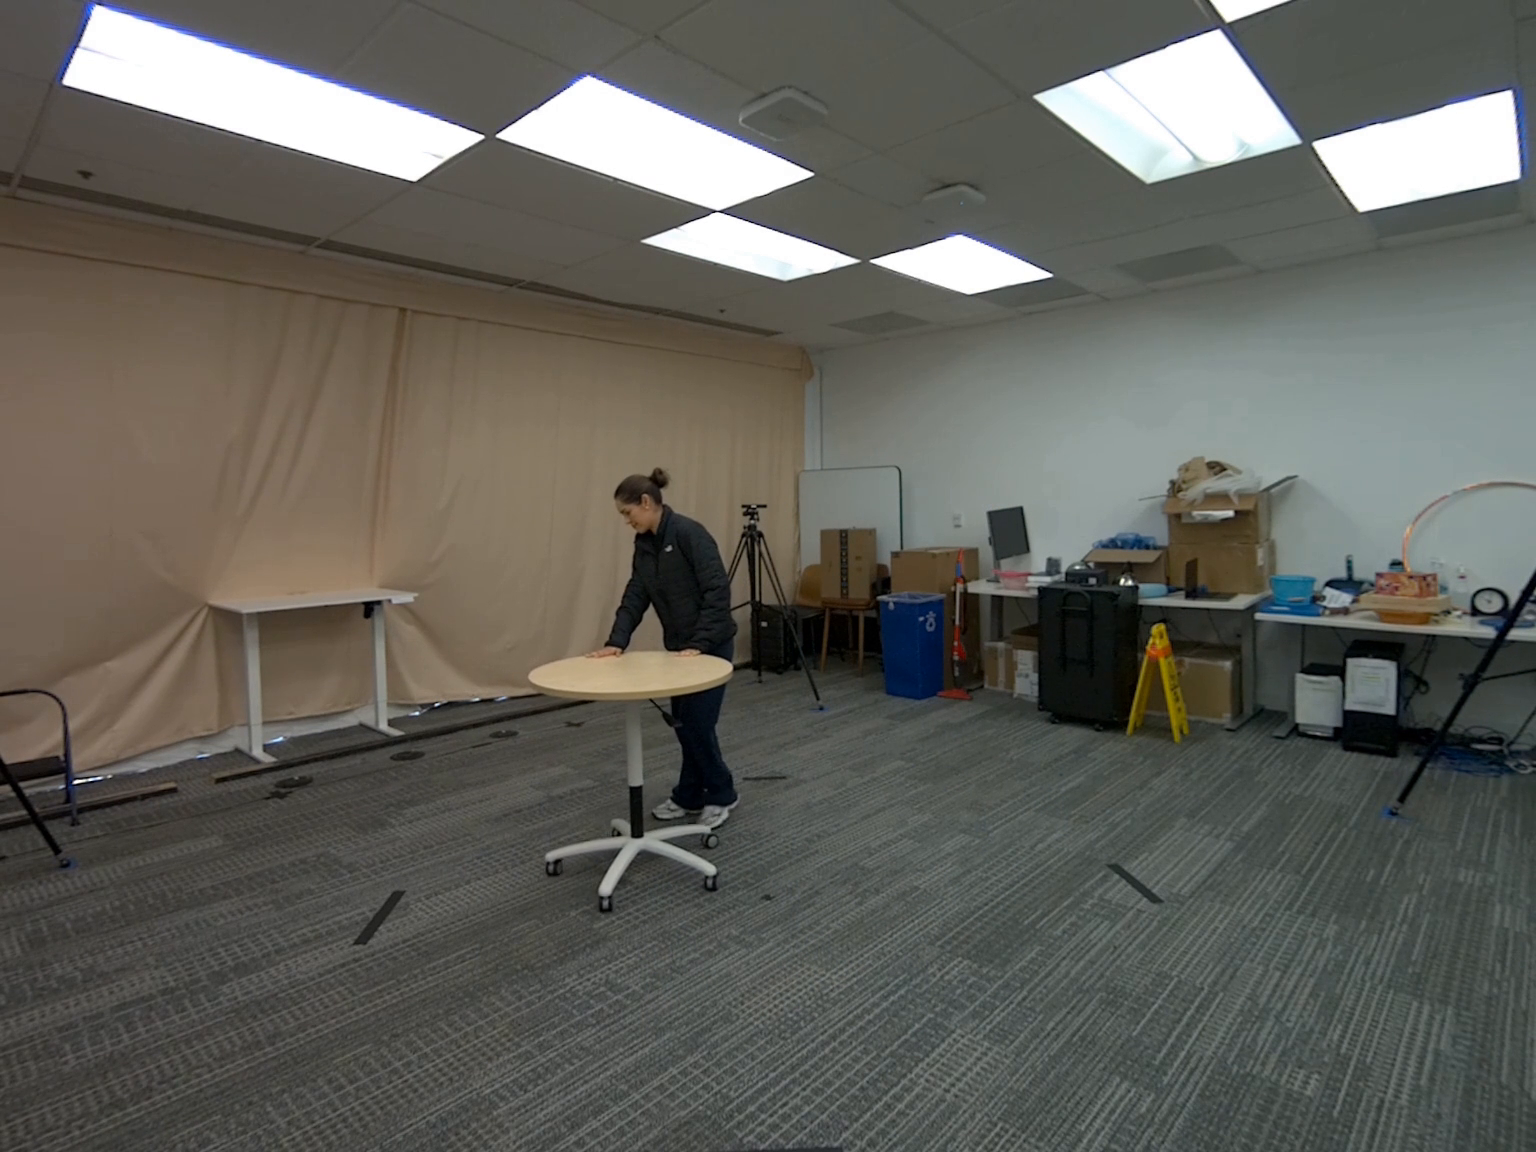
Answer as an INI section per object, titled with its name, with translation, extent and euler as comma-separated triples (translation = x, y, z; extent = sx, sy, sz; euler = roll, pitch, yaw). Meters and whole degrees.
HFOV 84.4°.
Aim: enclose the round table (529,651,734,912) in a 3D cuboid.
[round table]
translation = -0.498, 0.736, 3.208
extent = 0.784, 0.784, 0.788
euler = -1, 4, -2
